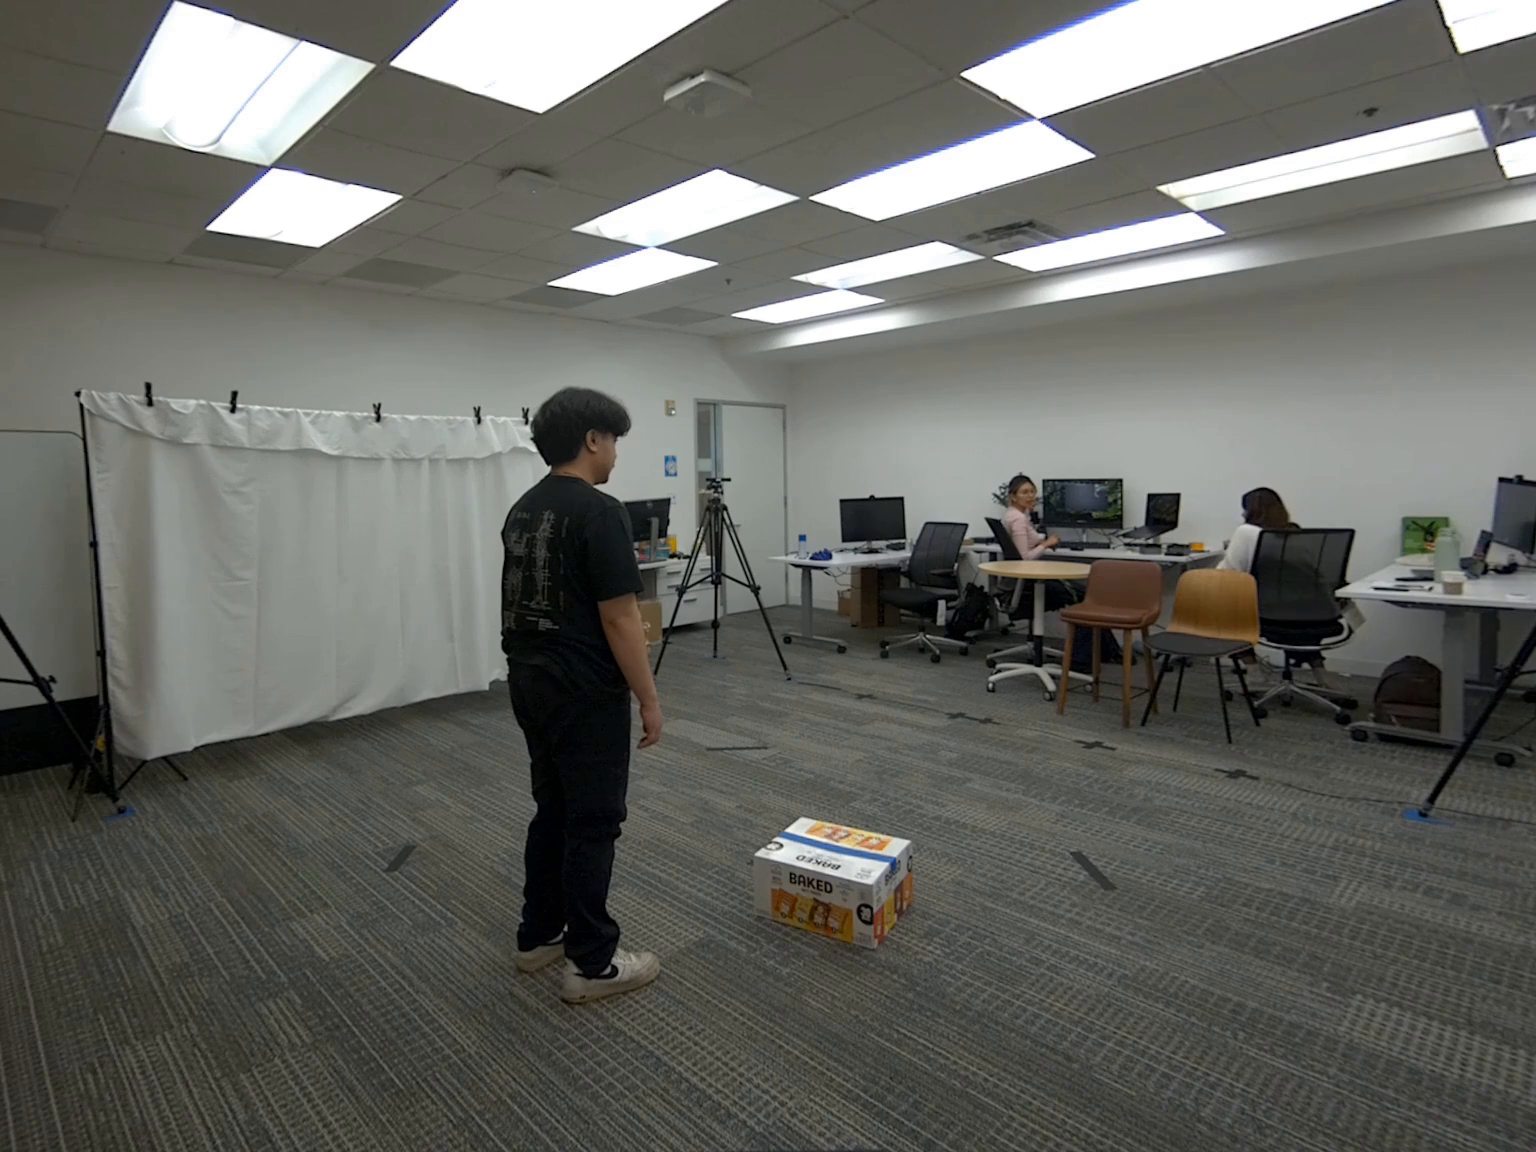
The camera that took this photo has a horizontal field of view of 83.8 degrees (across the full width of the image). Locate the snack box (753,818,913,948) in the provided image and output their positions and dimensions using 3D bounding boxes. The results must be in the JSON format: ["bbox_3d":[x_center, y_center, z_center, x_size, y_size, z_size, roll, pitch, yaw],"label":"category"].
[{"bbox_3d":[0.217,0.974,2.756,0.416,0.205,0.333,2,7,30],"label":"snack box"}]
